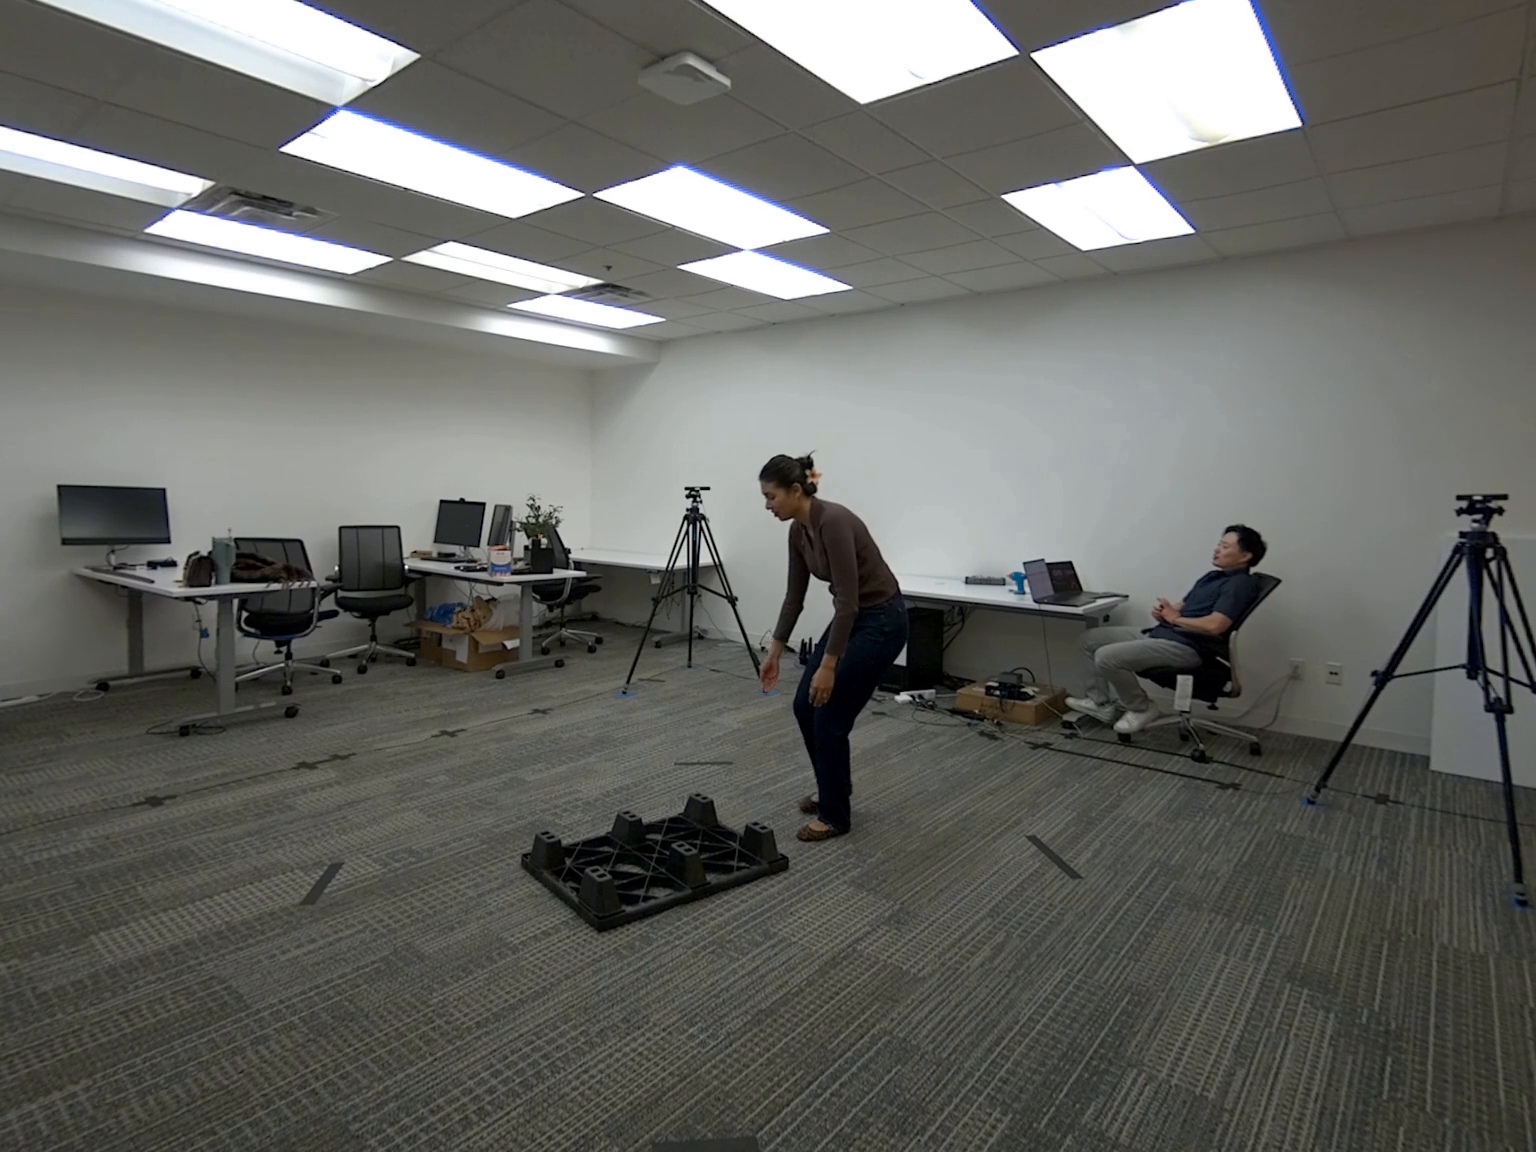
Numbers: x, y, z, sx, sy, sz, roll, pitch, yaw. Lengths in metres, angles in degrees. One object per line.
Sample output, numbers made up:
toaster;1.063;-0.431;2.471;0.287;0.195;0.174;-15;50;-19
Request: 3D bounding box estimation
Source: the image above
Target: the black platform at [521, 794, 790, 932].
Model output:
black platform;-0.421;0.995;3.102;0.782;0.143;0.625;-4;7;-39
